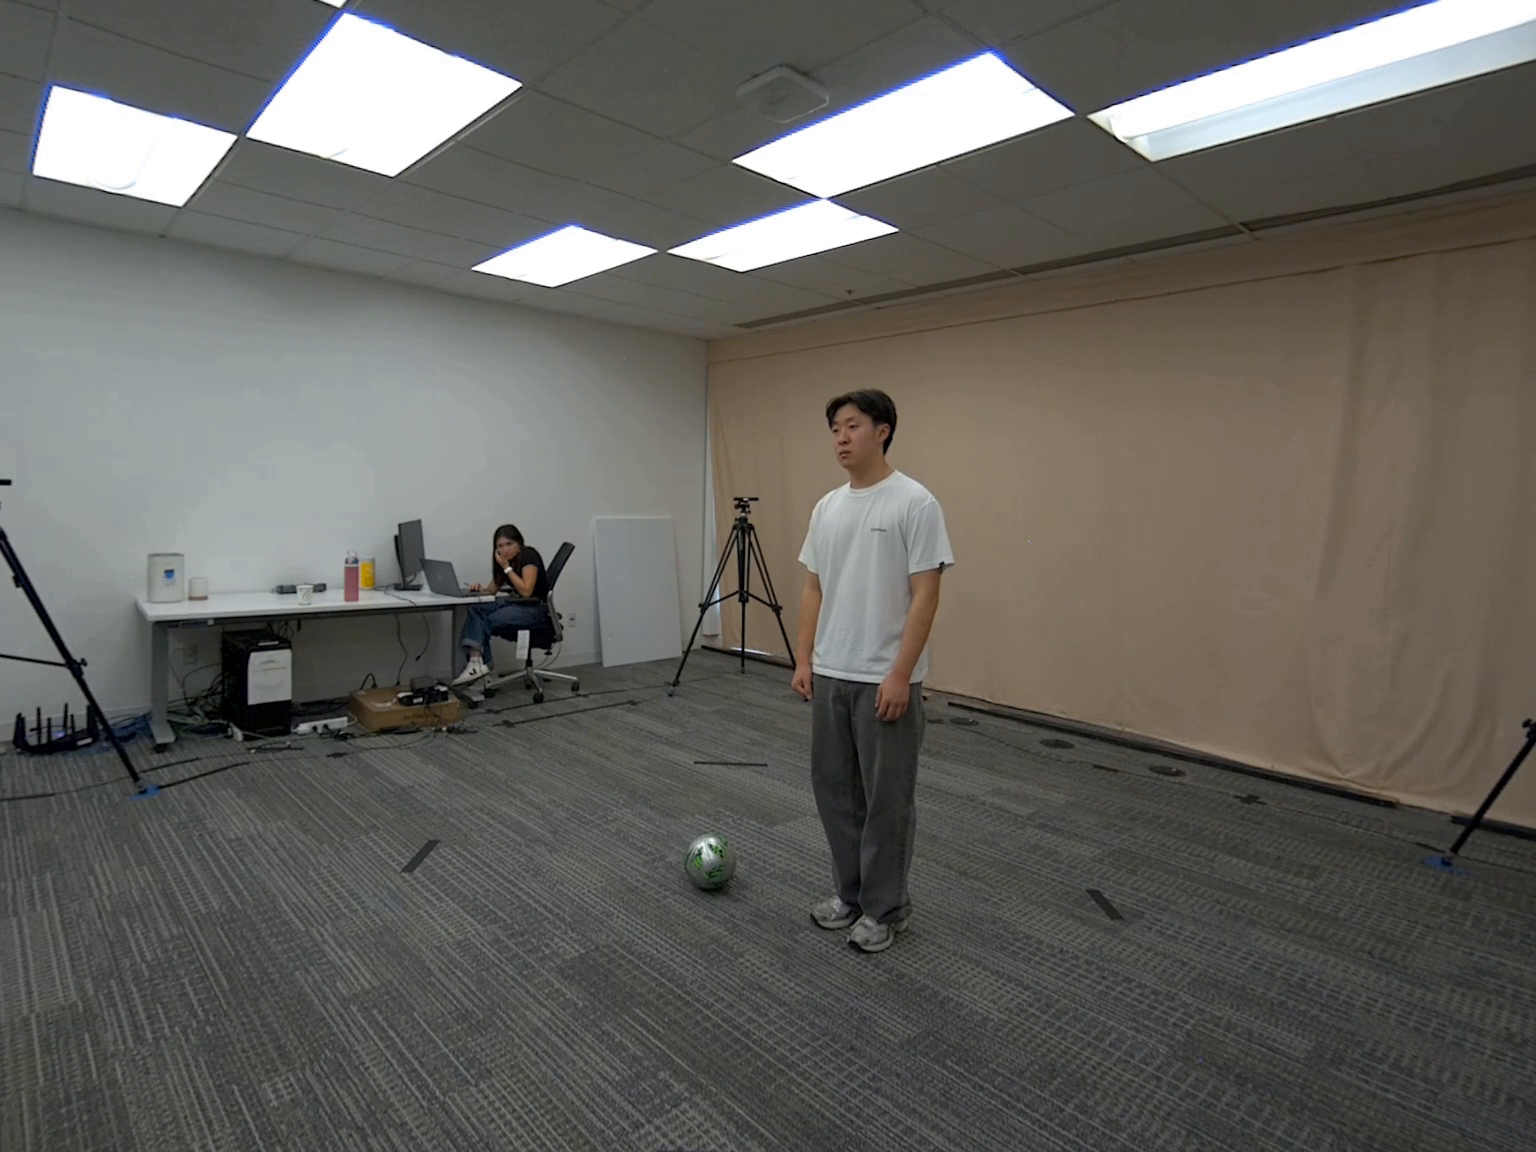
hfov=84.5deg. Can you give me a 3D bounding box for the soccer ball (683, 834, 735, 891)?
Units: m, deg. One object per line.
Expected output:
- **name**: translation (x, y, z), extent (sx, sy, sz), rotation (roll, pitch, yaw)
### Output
- **soccer ball**: translation (-0.215, 1.023, 3.008), extent (0.187, 0.187, 0.188), rotation (1, 4, -1)
